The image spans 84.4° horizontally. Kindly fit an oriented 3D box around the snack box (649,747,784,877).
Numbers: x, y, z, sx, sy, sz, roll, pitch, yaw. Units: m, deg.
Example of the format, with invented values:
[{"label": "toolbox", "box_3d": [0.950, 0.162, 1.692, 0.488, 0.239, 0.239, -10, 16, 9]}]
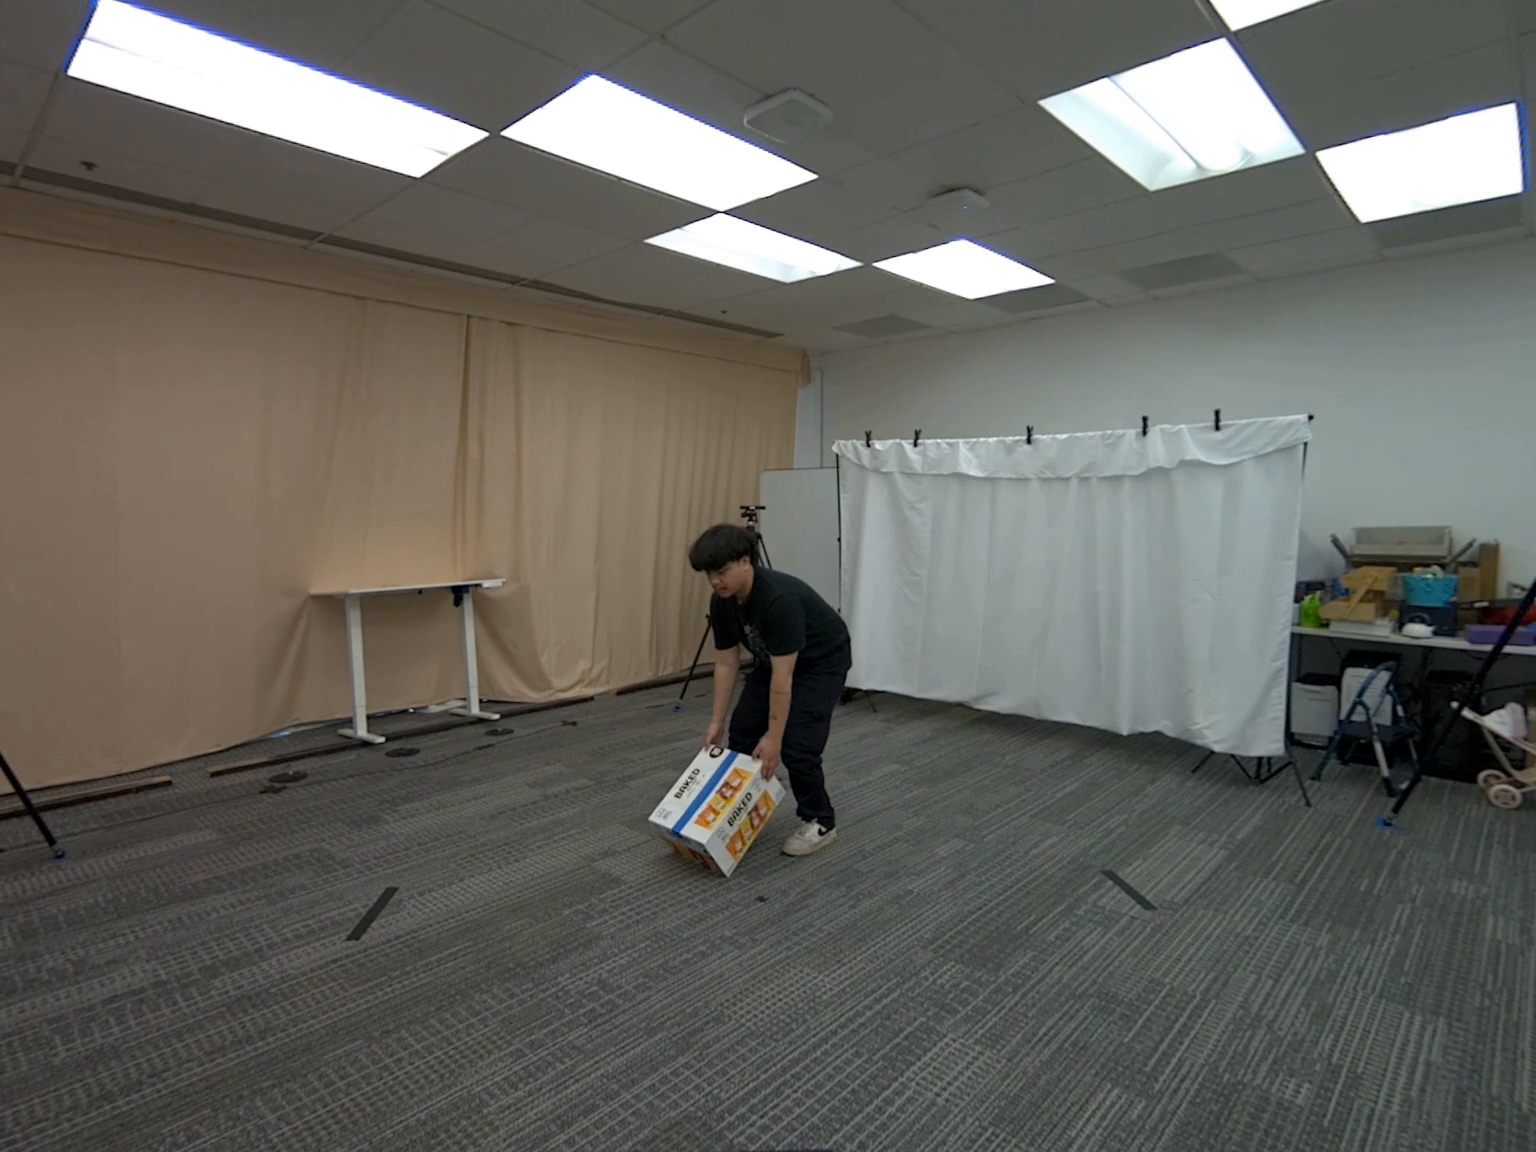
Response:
[{"label": "snack box", "box_3d": [-0.200, 0.918, 3.333, 0.352, 0.200, 0.402, 4, 44, 45]}]
